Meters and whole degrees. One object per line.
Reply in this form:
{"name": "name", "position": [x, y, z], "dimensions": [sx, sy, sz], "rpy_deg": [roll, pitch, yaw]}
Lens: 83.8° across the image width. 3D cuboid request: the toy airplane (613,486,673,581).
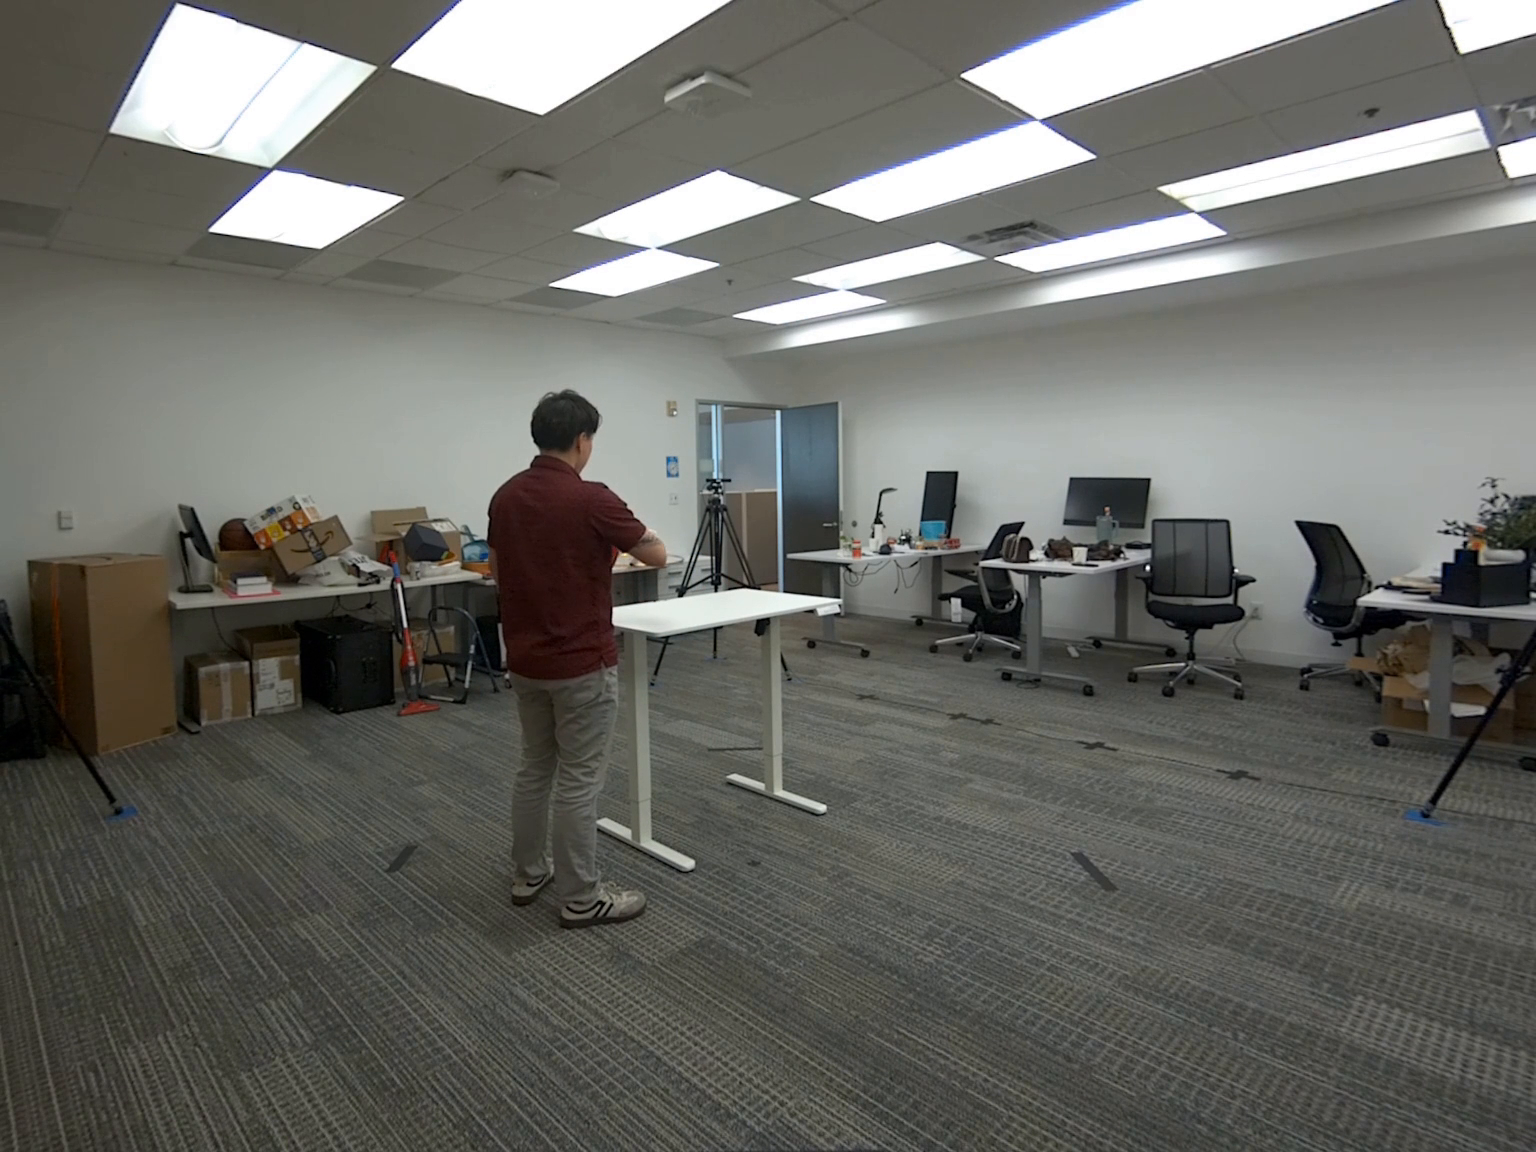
{"name": "toy airplane", "position": [-0.518, -0.149, 3.074], "dimensions": [0.262, 0.256, 0.152], "rpy_deg": [-18, -17, 17]}
